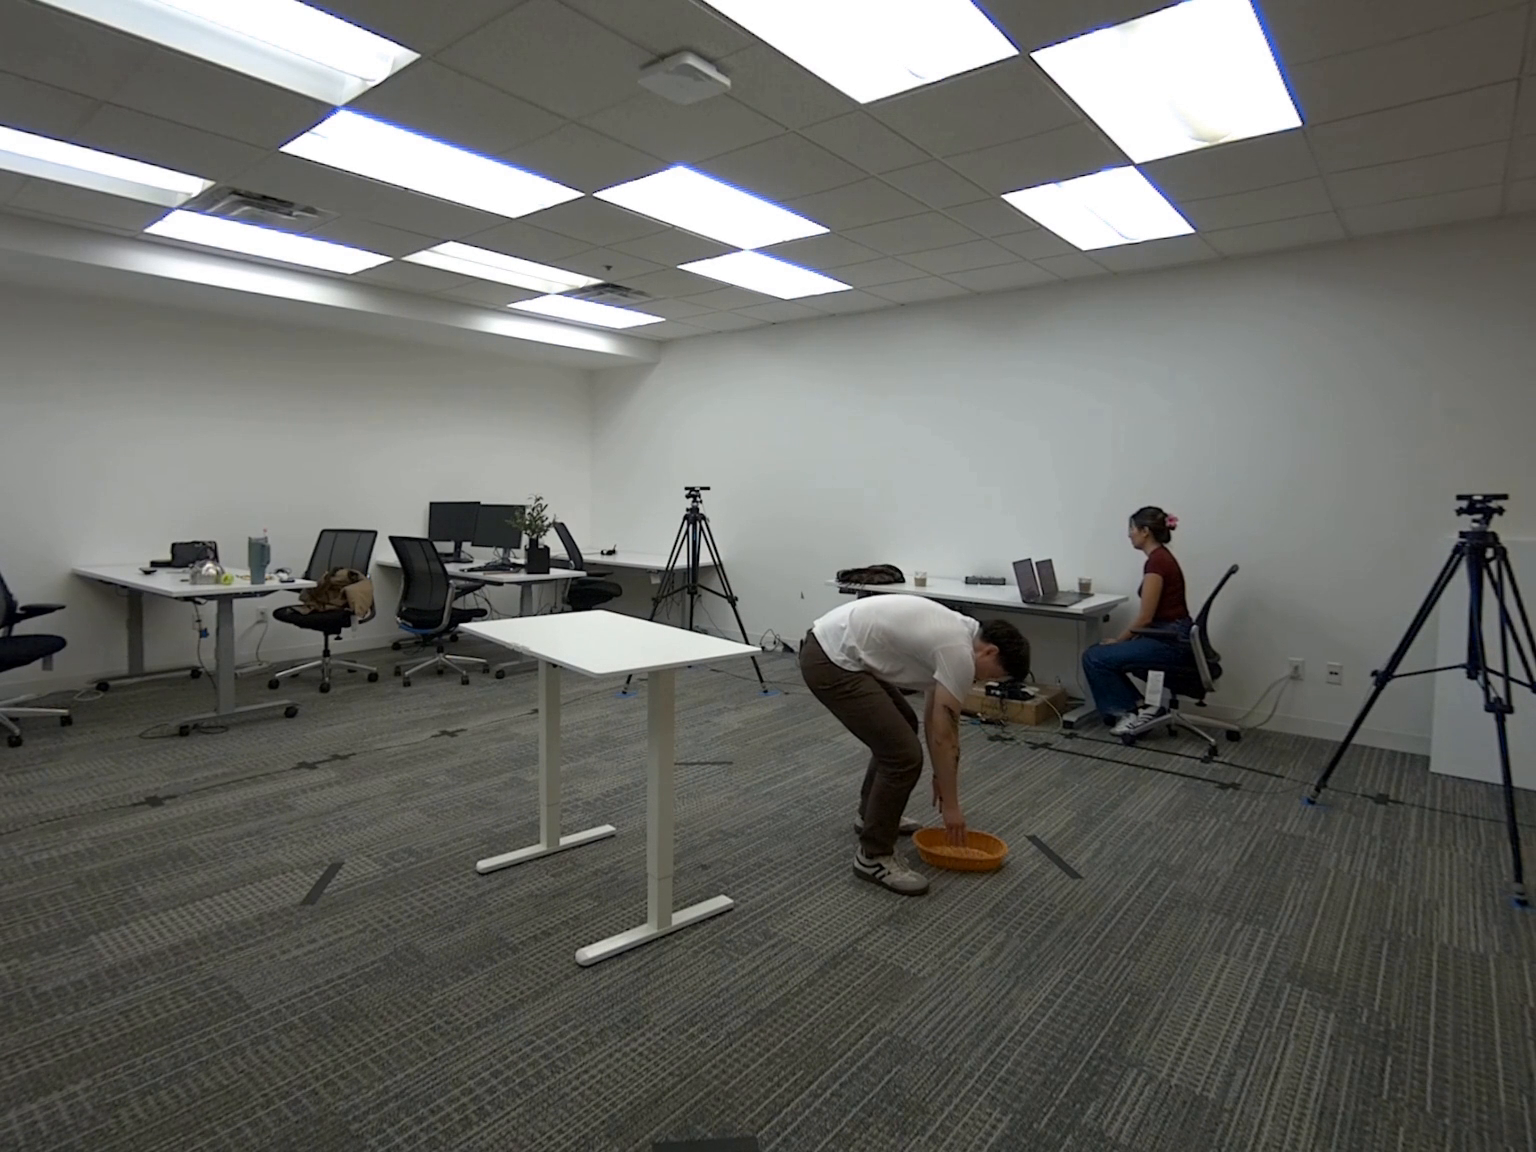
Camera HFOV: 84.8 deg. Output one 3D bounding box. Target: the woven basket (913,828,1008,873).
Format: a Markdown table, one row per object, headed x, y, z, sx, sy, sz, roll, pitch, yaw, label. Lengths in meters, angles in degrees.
| x | y | z | sx | sy | sz | roll | pitch | yaw | label |
| --- | --- | --- | --- | --- | --- | --- | --- | --- | --- |
| 0.715 | 1.032 | 3.217 | 0.354 | 0.073 | 0.251 | 2 | 7 | 9 | woven basket |
